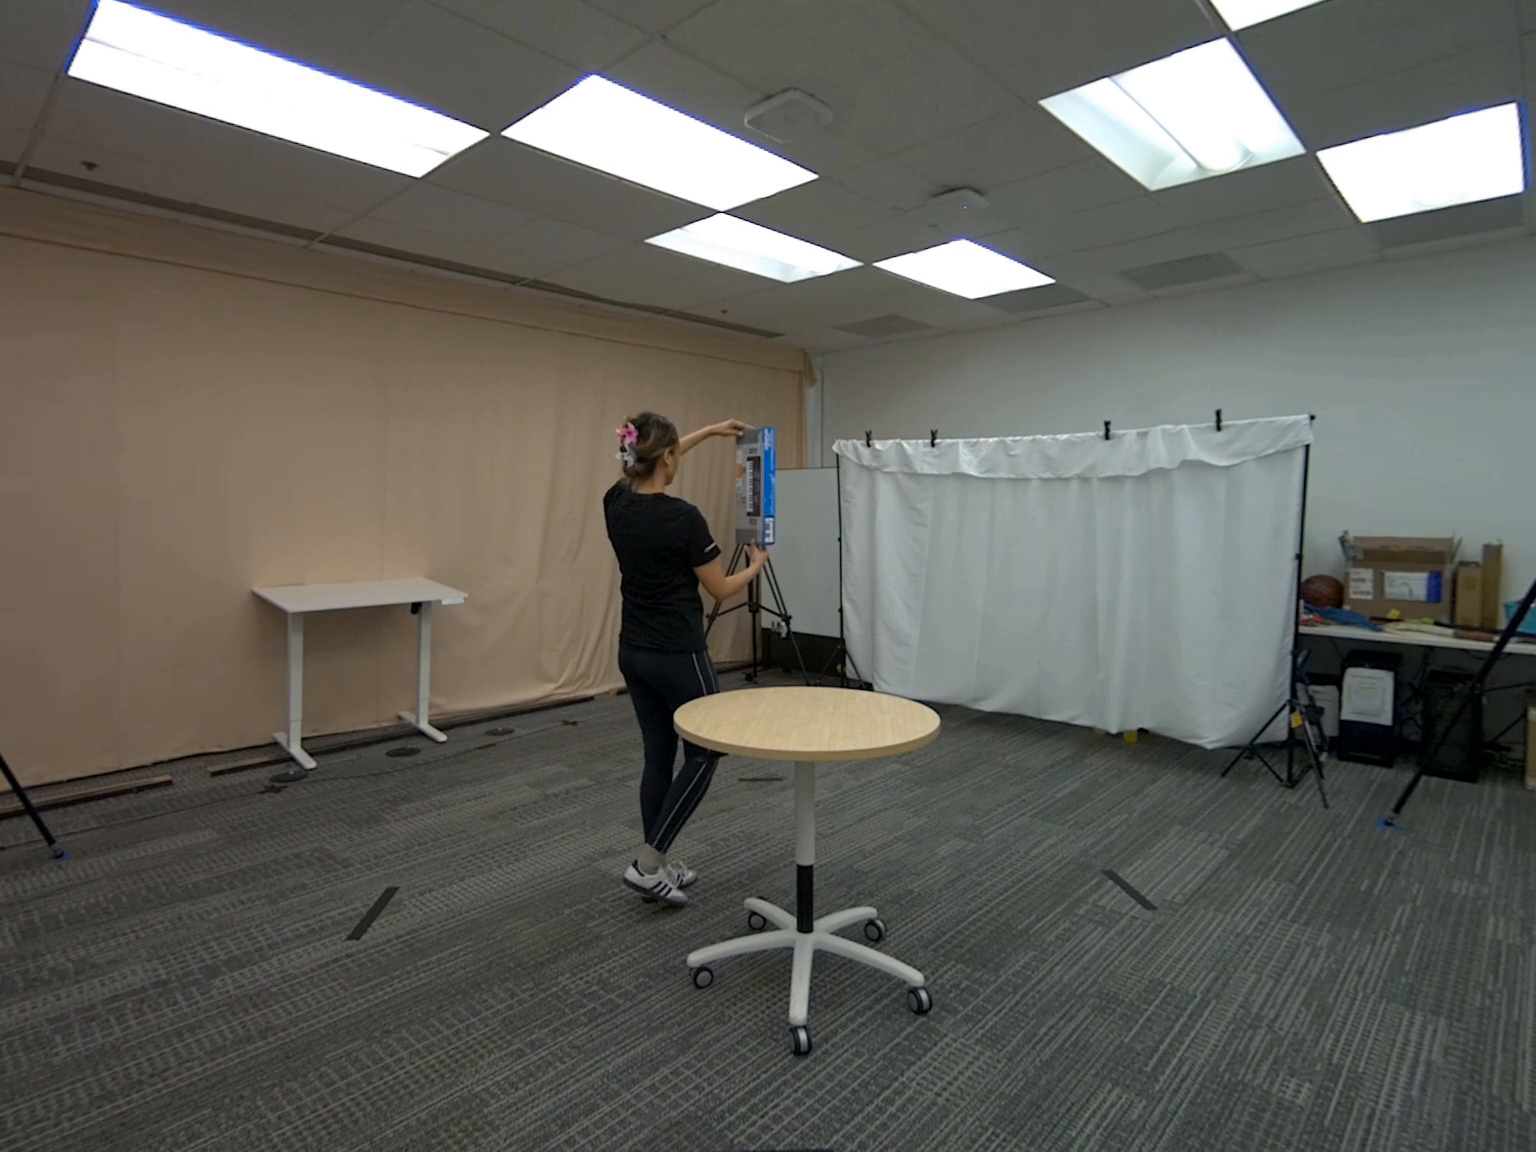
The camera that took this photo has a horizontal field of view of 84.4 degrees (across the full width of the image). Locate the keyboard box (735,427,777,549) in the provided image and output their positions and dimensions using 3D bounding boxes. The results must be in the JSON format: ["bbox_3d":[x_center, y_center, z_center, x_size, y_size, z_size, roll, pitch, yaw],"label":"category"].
[{"bbox_3d":[-0.046,-0.339,3.213,0.057,0.436,0.181,-1,3,-38],"label":"keyboard box"}]
